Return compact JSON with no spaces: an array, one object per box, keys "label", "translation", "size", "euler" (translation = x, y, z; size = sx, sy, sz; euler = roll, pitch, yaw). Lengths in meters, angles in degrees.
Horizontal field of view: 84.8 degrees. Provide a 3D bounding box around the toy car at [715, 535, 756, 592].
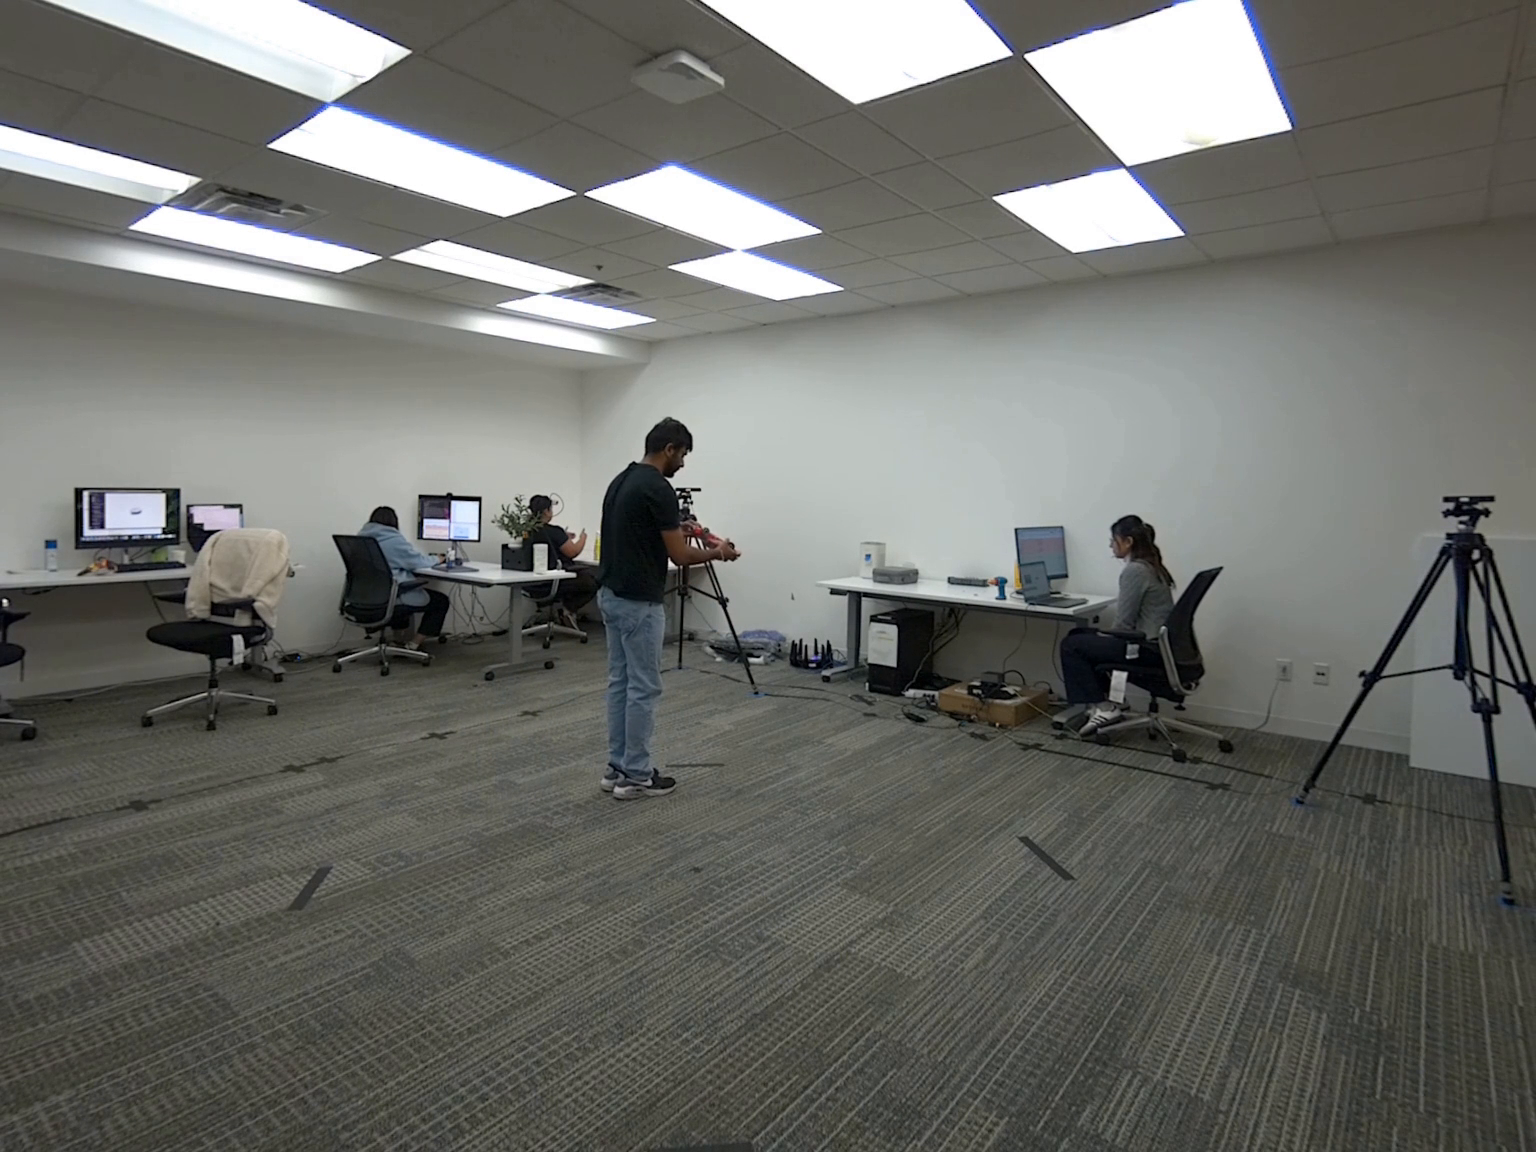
[{"label":"toy car","translation":[-0.180,-0.067,4.056],"size":[0.083,0.255,0.129],"euler":[-36,-2,10]}]
